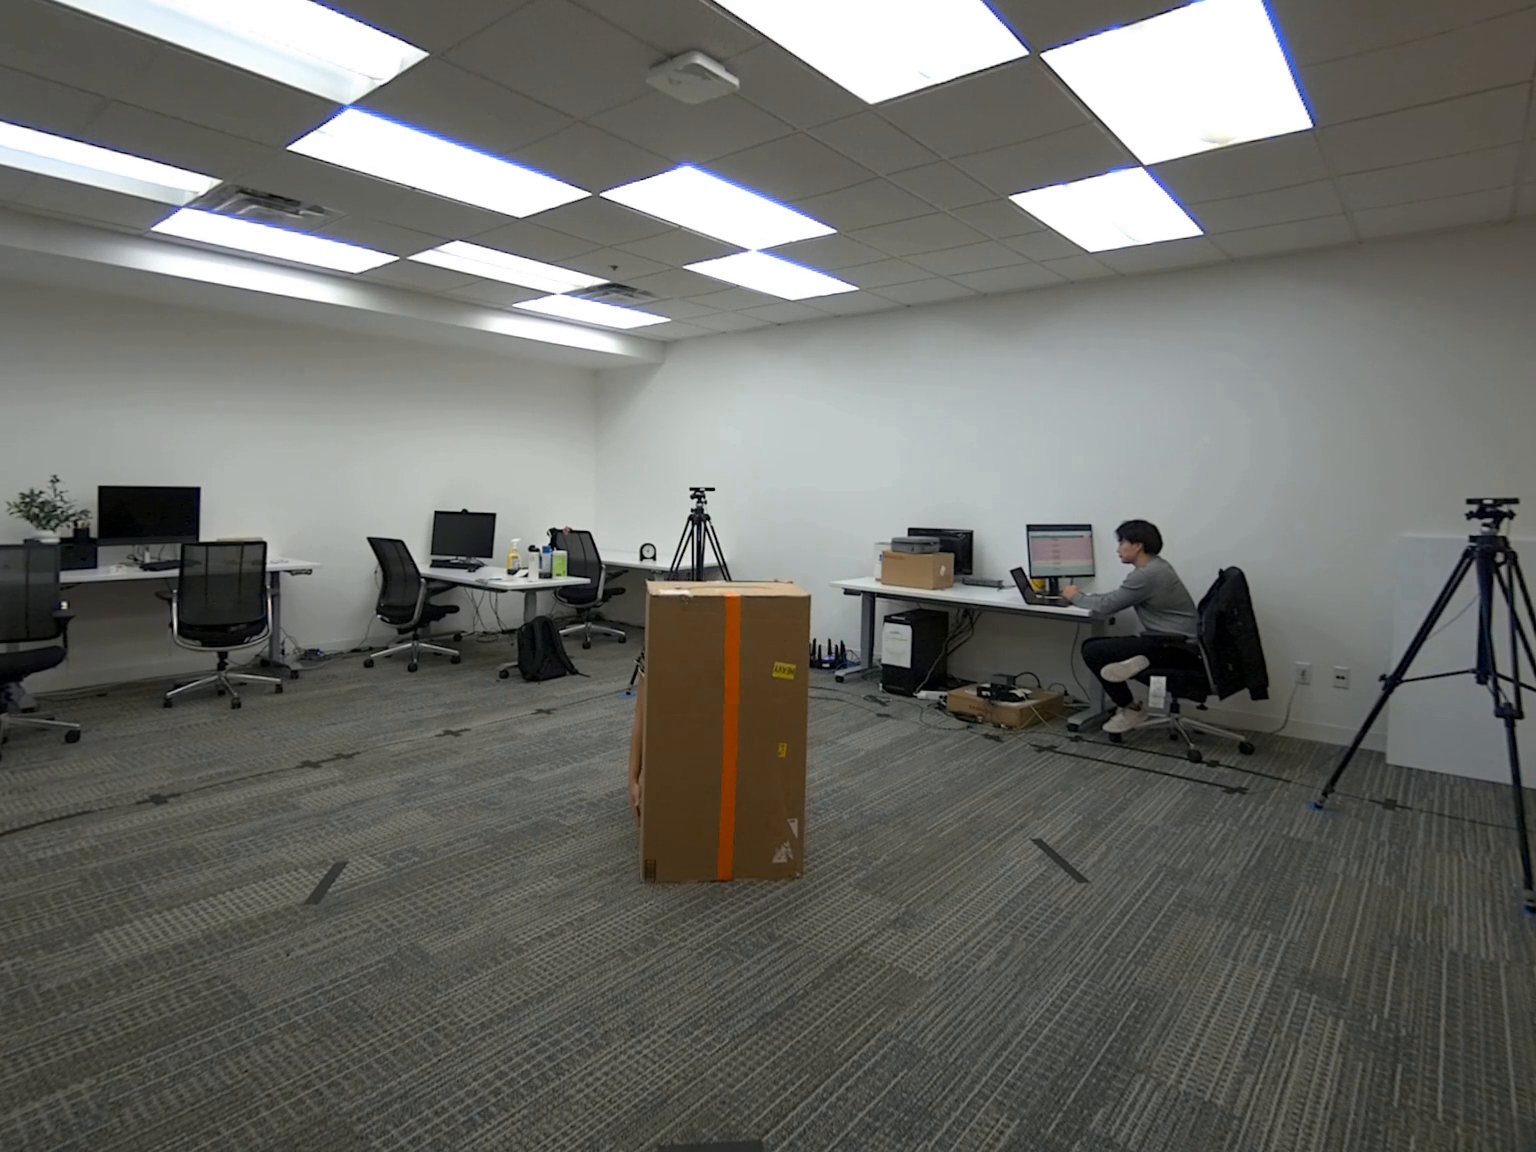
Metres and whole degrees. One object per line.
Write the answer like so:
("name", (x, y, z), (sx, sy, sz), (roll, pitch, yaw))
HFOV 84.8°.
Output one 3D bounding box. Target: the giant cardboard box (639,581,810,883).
("giant cardboard box", (-0.178, 0.545, 3.190), (0.572, 1.023, 0.431), (2, 3, -9))
